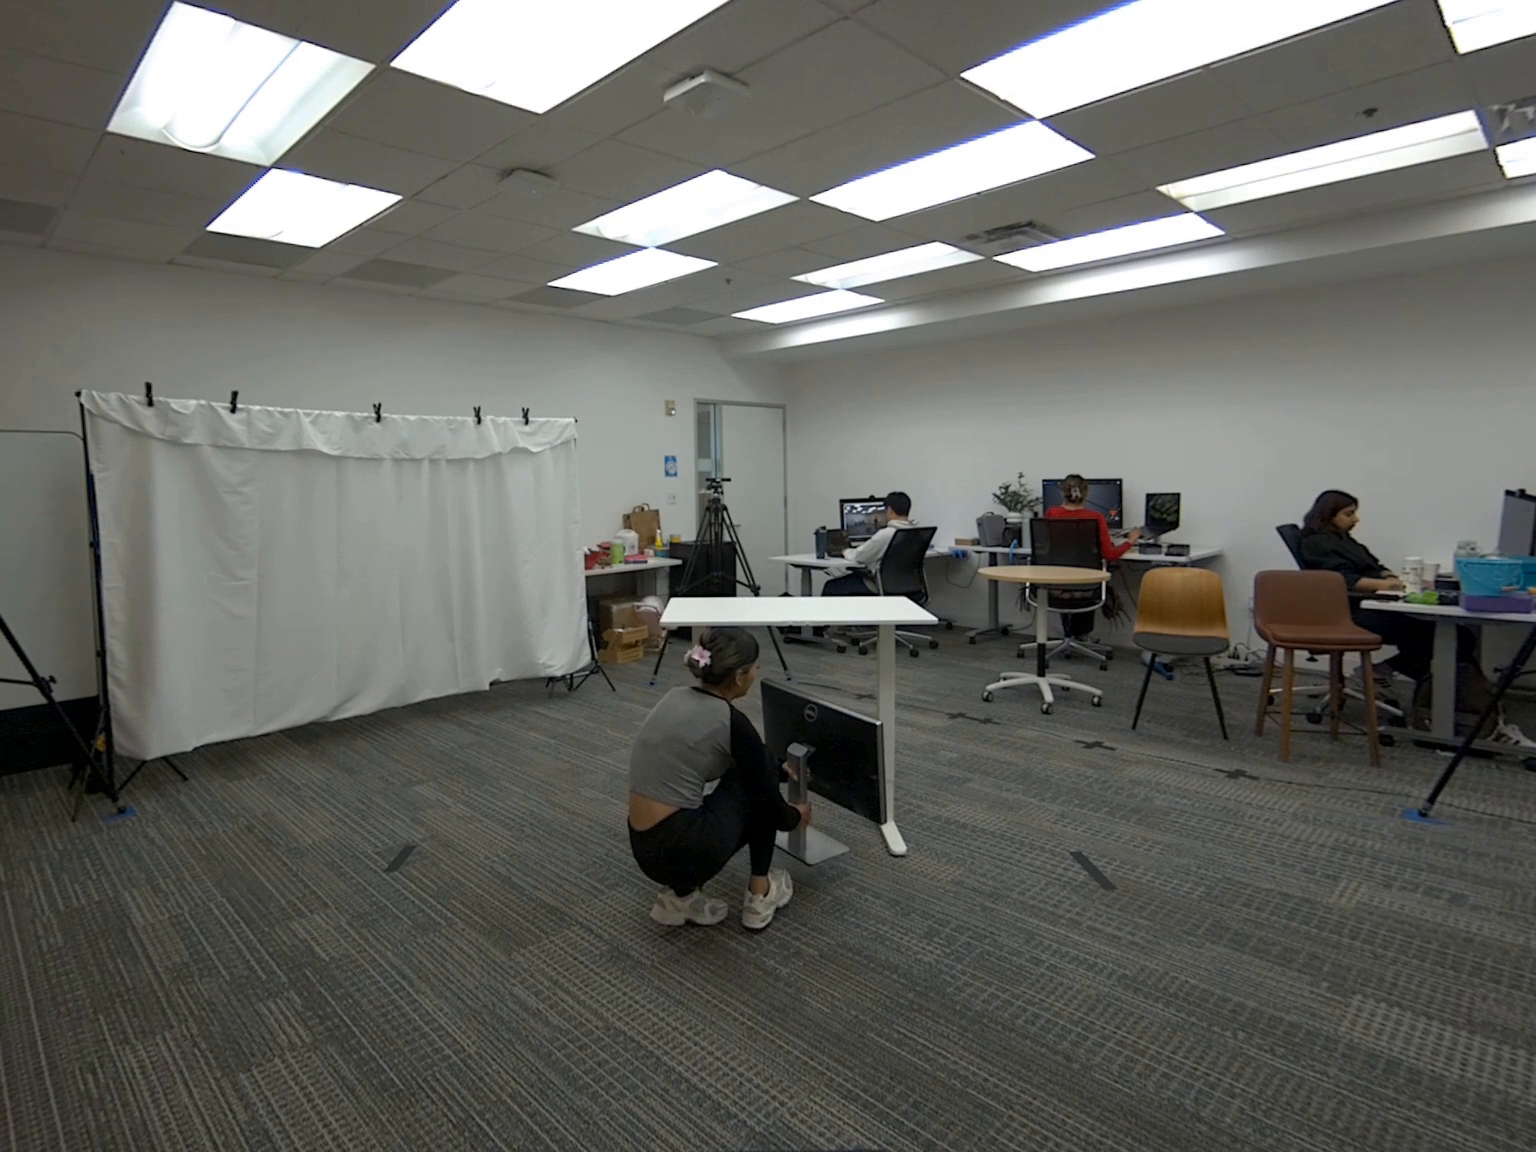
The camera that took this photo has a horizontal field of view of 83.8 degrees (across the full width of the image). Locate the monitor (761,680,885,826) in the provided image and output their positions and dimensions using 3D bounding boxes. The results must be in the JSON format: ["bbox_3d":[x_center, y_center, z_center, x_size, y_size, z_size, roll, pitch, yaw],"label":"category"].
[{"bbox_3d":[0.152,0.687,2.947,0.182,0.519,0.558,-1,10,-43],"label":"monitor"}]
